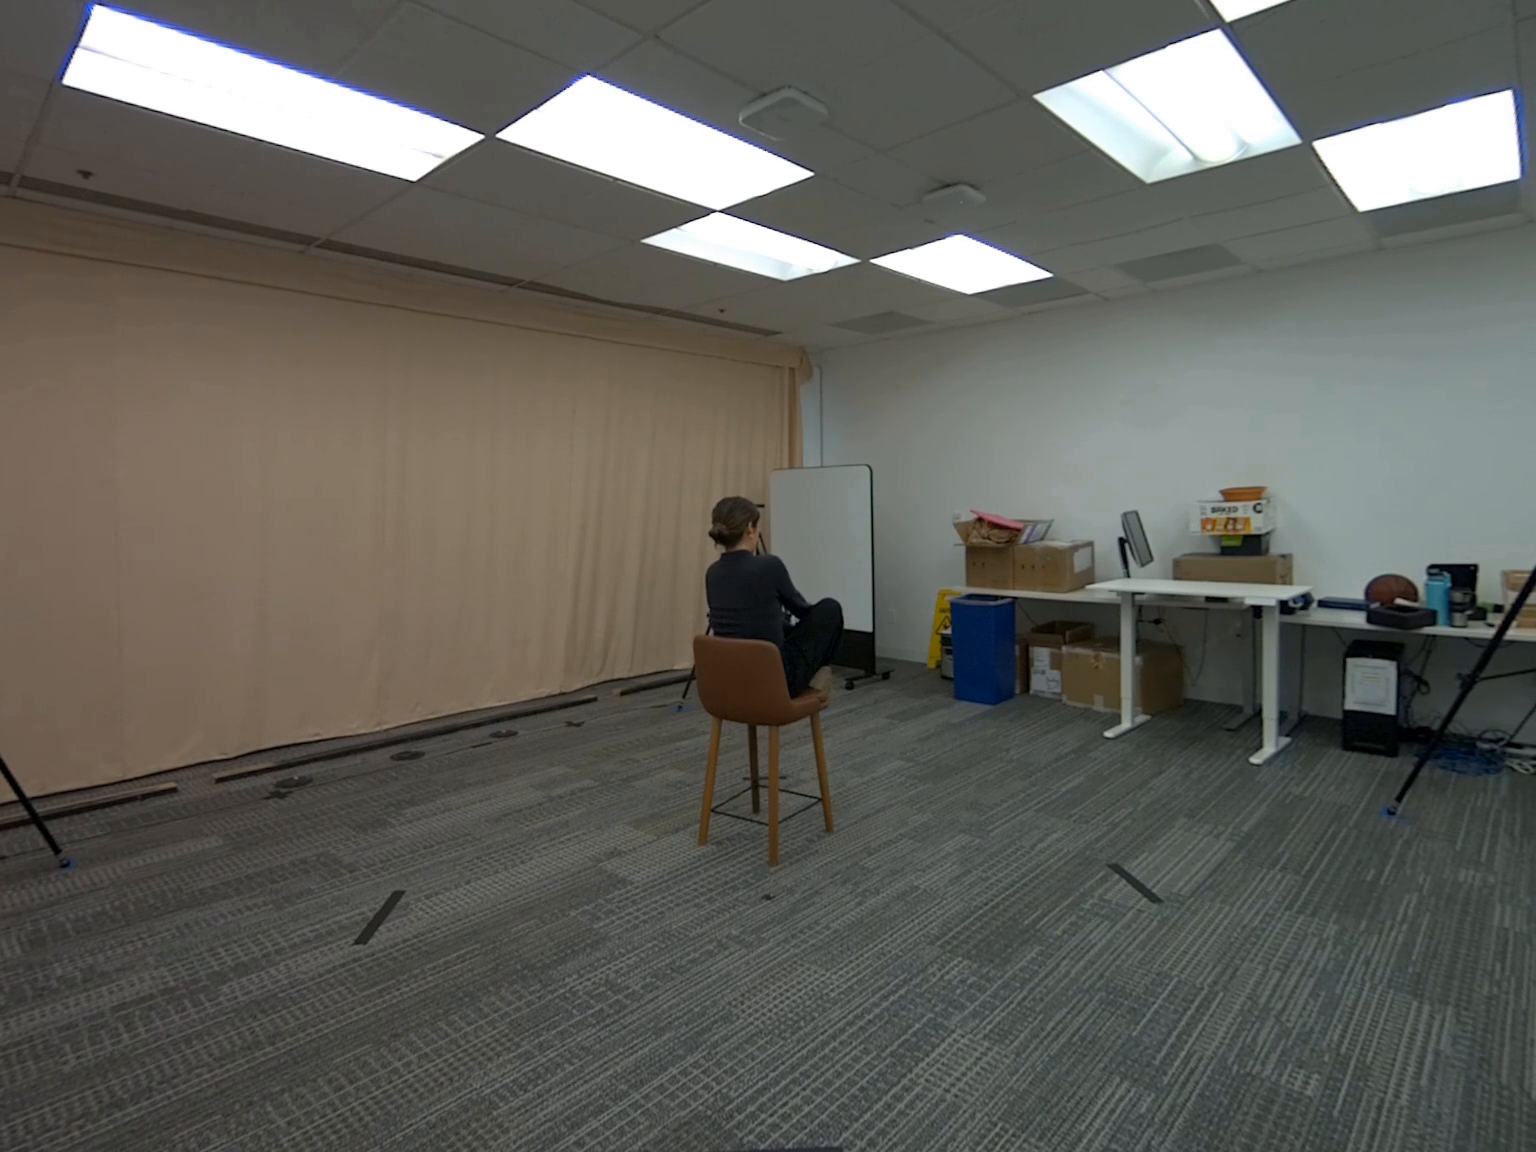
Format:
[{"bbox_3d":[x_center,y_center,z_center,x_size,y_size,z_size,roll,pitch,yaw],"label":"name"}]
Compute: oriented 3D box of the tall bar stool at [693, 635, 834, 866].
[{"bbox_3d":[-0.022,0.663,3.498,0.471,0.887,0.455,1,5,35],"label":"tall bar stool"}]
